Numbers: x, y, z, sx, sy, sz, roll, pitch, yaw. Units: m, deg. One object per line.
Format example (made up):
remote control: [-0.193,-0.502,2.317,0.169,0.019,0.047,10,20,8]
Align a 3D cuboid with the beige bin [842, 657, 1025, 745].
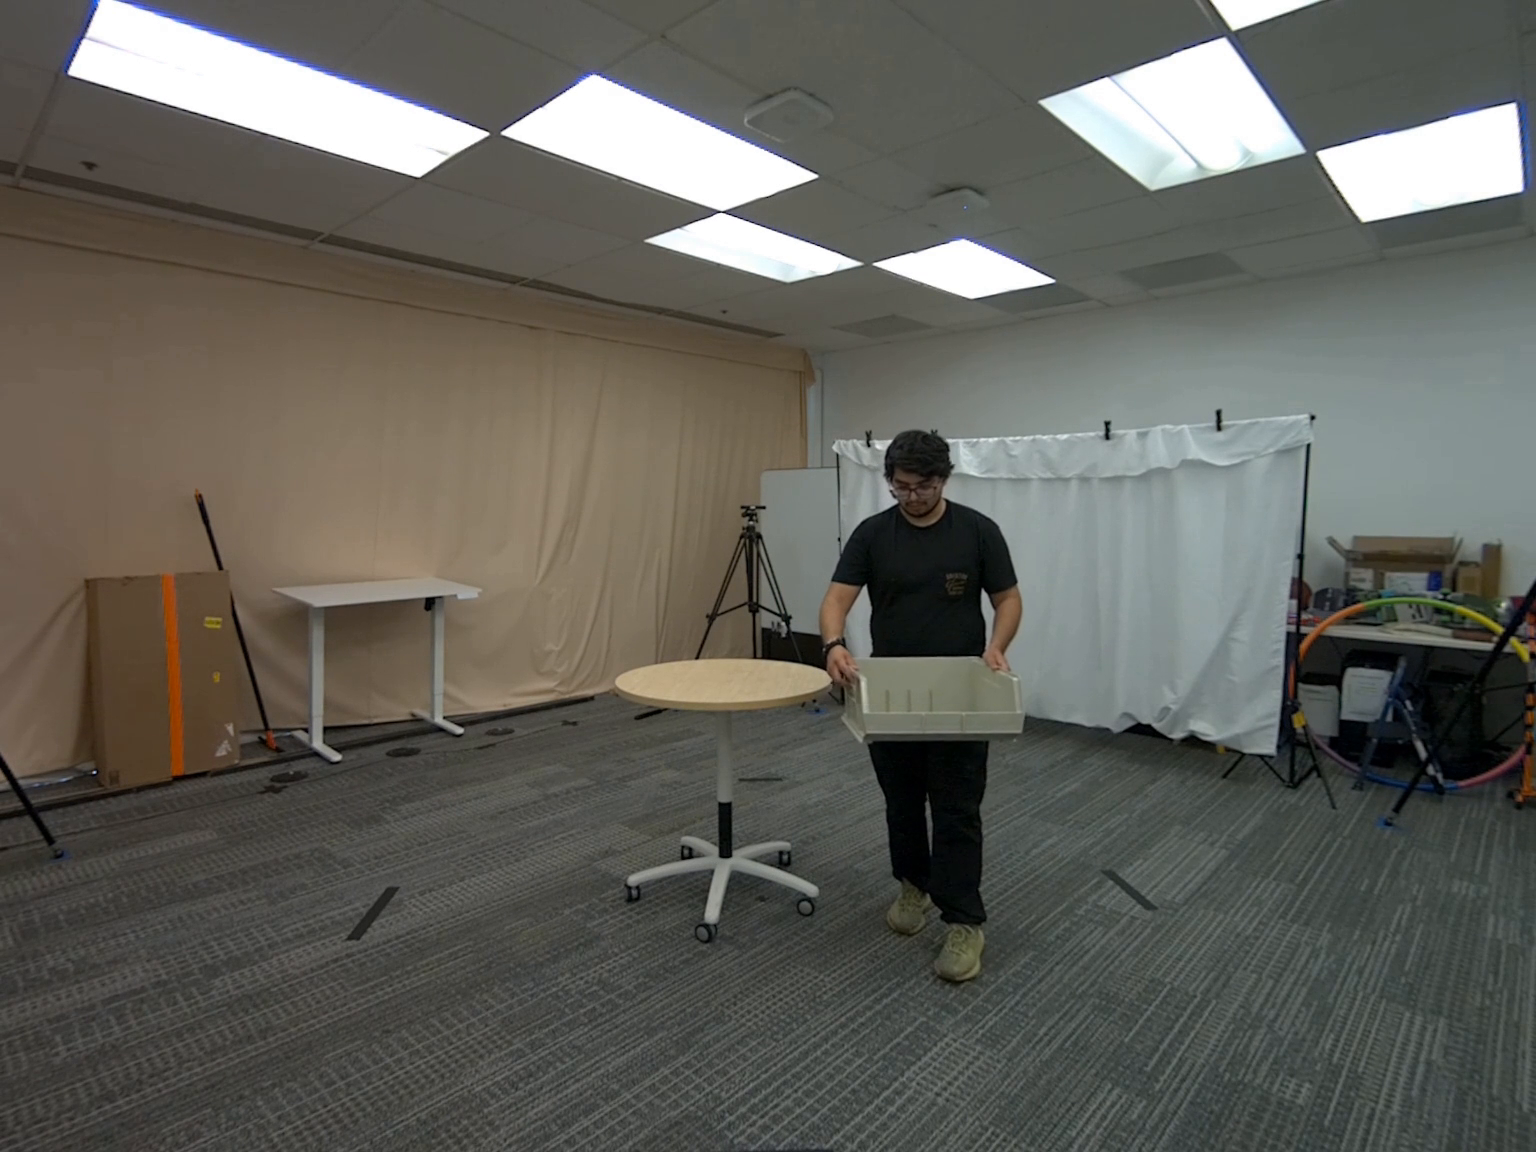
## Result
beige bin: [0.433,0.340,2.327,0.421,0.189,0.378,-1,-1,-3]
